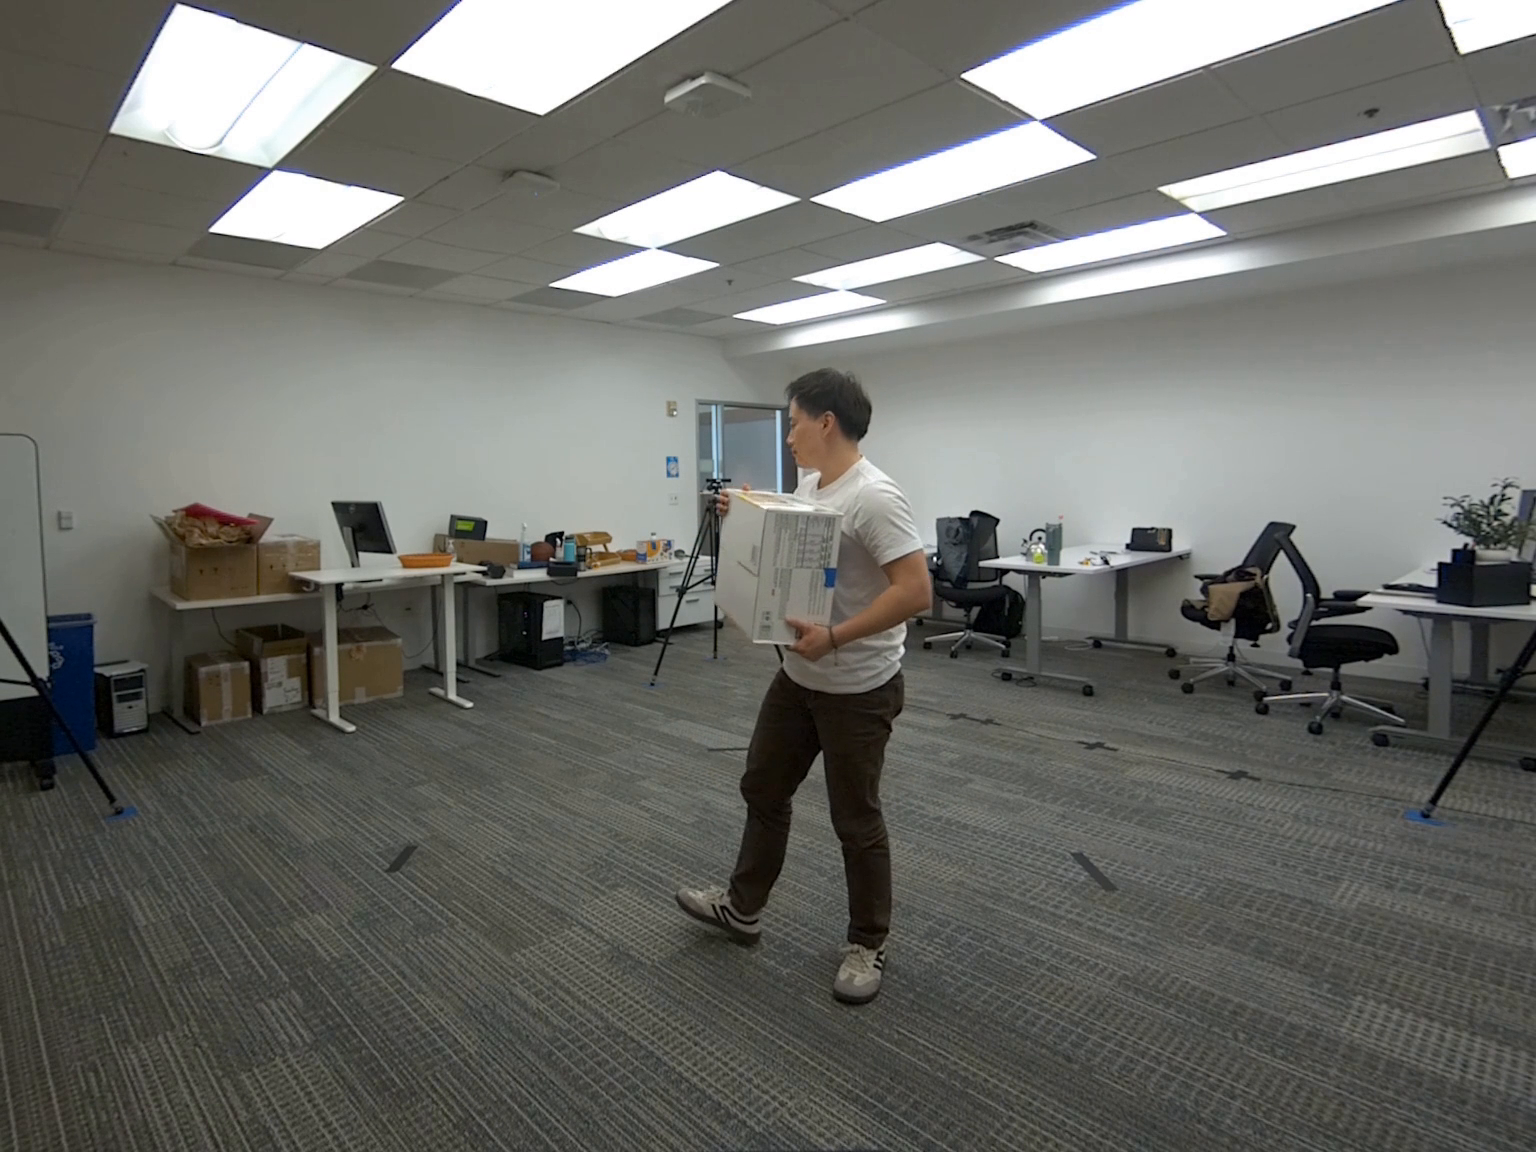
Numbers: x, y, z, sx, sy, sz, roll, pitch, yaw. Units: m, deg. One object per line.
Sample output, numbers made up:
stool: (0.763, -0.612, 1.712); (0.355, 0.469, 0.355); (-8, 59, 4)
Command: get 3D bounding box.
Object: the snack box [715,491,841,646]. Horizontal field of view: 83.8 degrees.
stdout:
snack box: (0.003, -0.040, 2.293); (0.203, 0.338, 0.414); (3, 10, -14)
